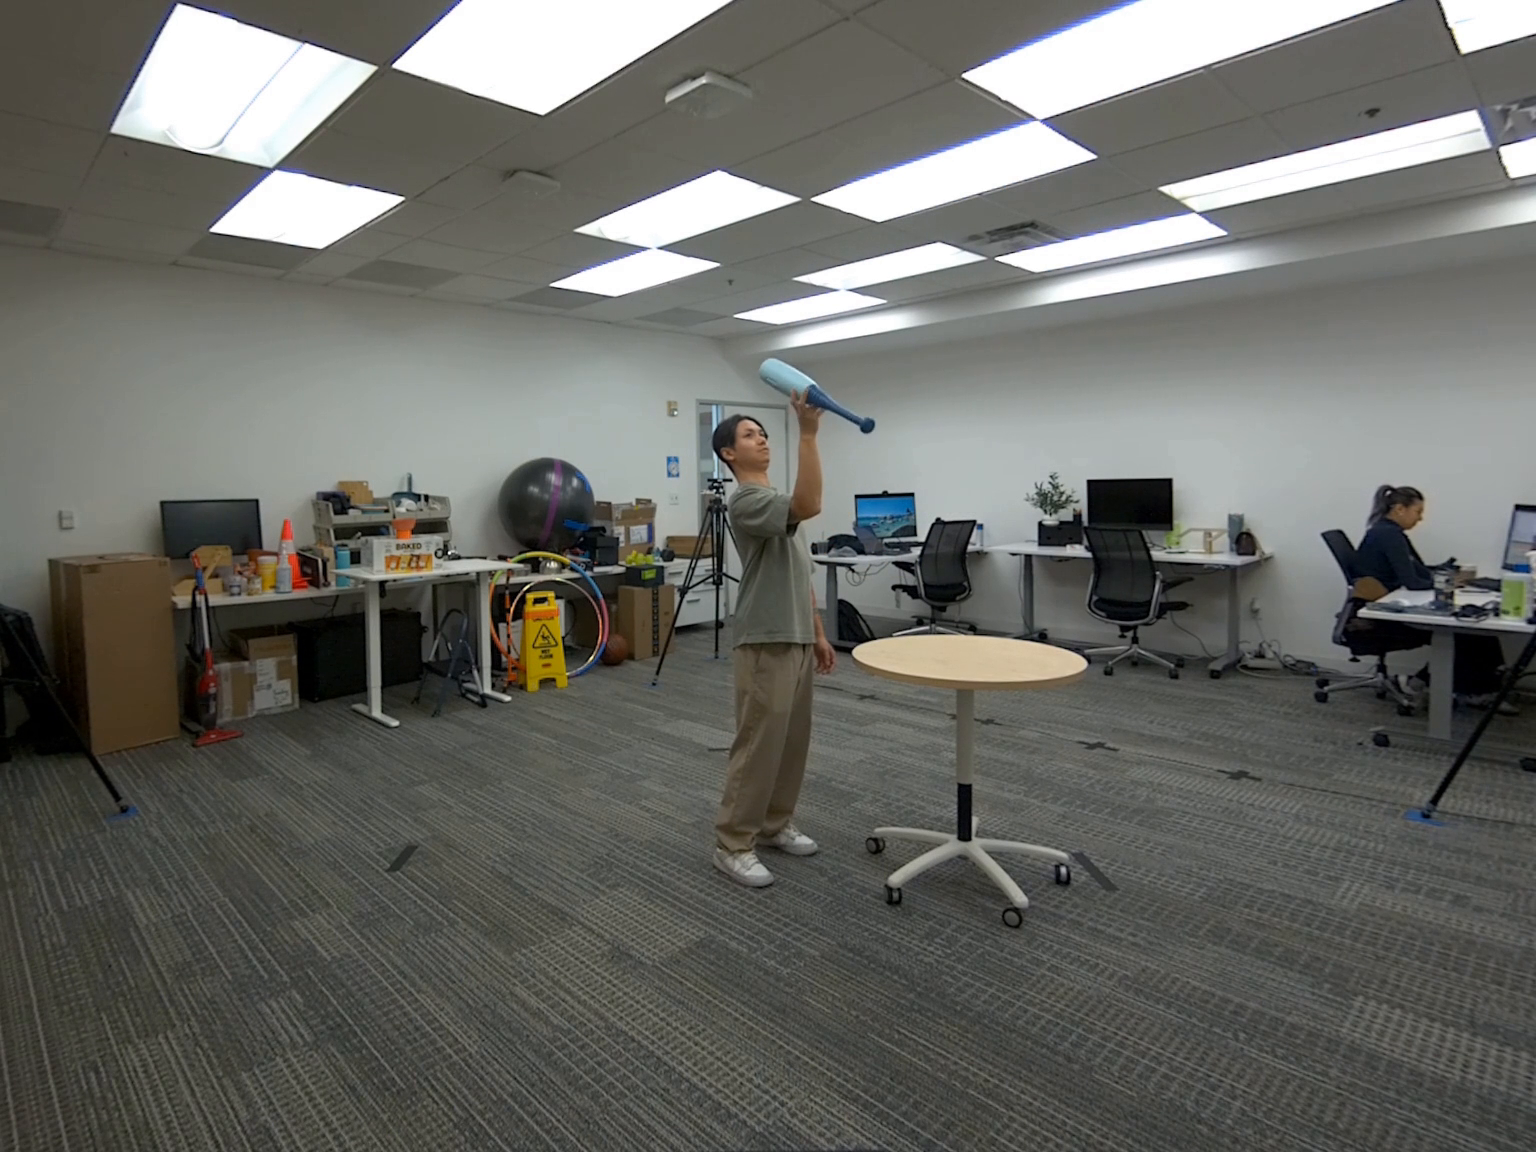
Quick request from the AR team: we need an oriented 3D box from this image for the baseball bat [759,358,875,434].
[{"bbox_3d":[0.154,-0.564,2.704,0.087,0.088,0.565,-4,31,-34],"label":"baseball bat"}]
